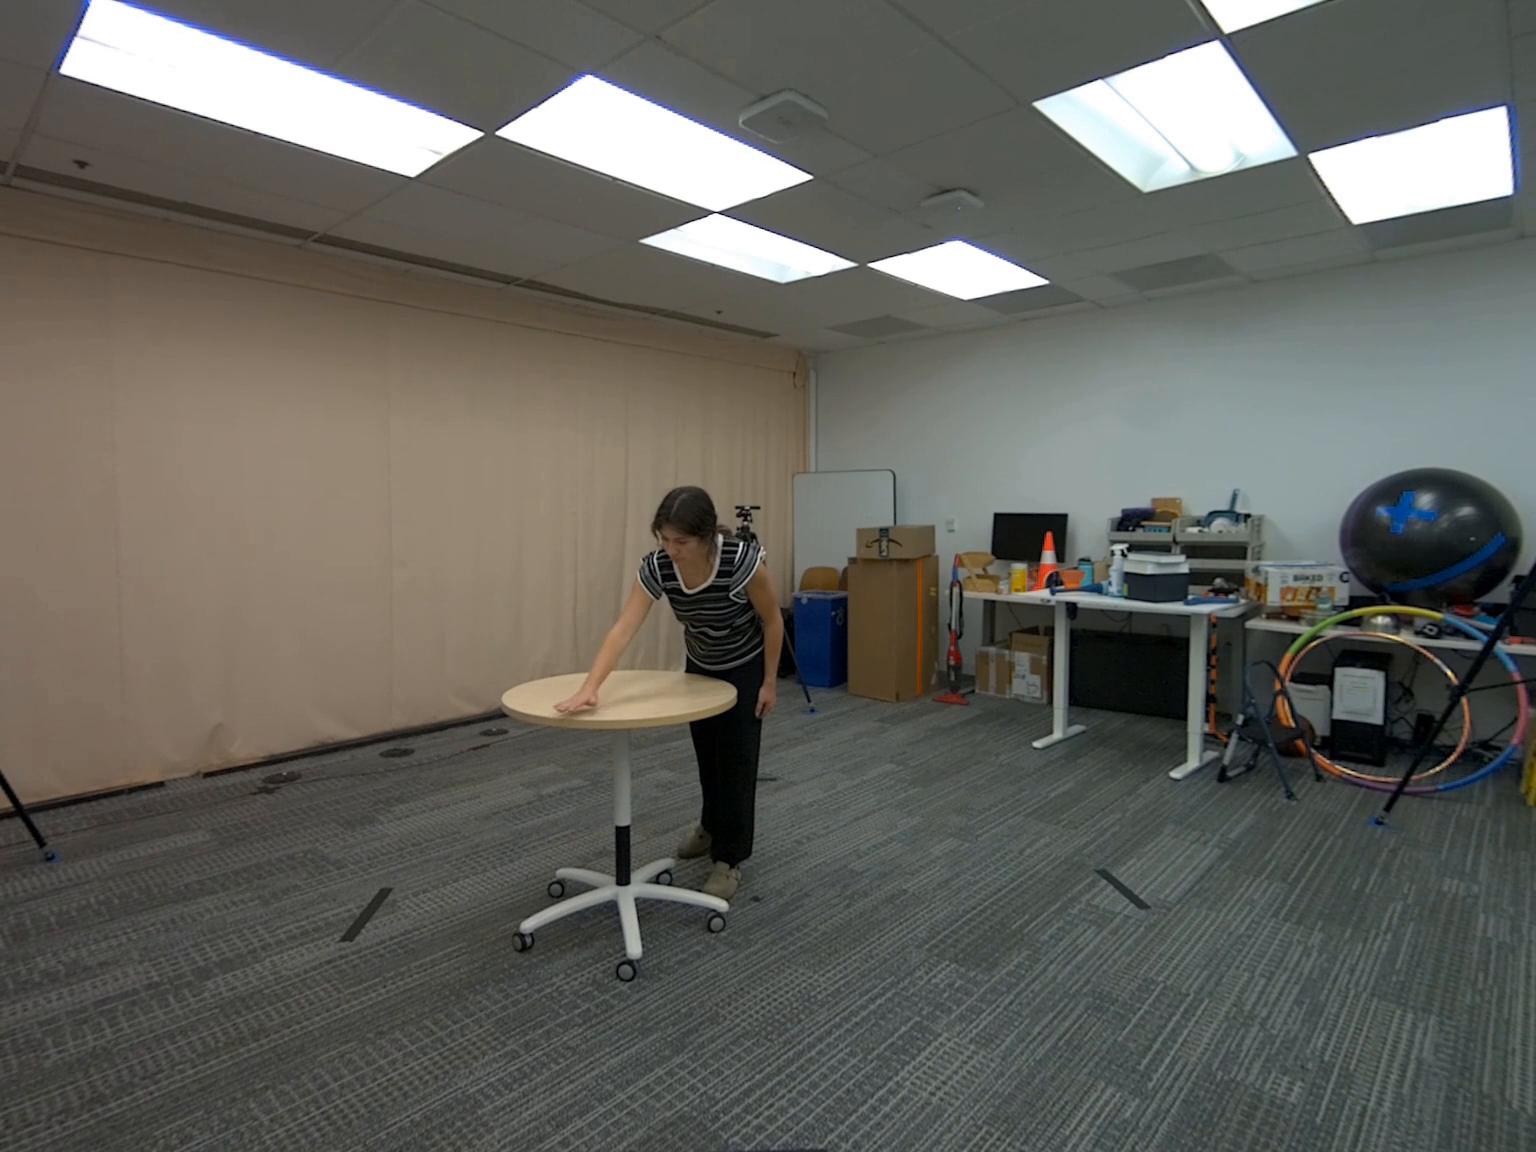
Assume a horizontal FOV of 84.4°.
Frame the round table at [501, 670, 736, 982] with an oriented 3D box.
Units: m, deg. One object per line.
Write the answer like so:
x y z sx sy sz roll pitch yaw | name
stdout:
-0.485 0.777 2.780 0.763 0.792 0.766 0 3 -2 | round table
